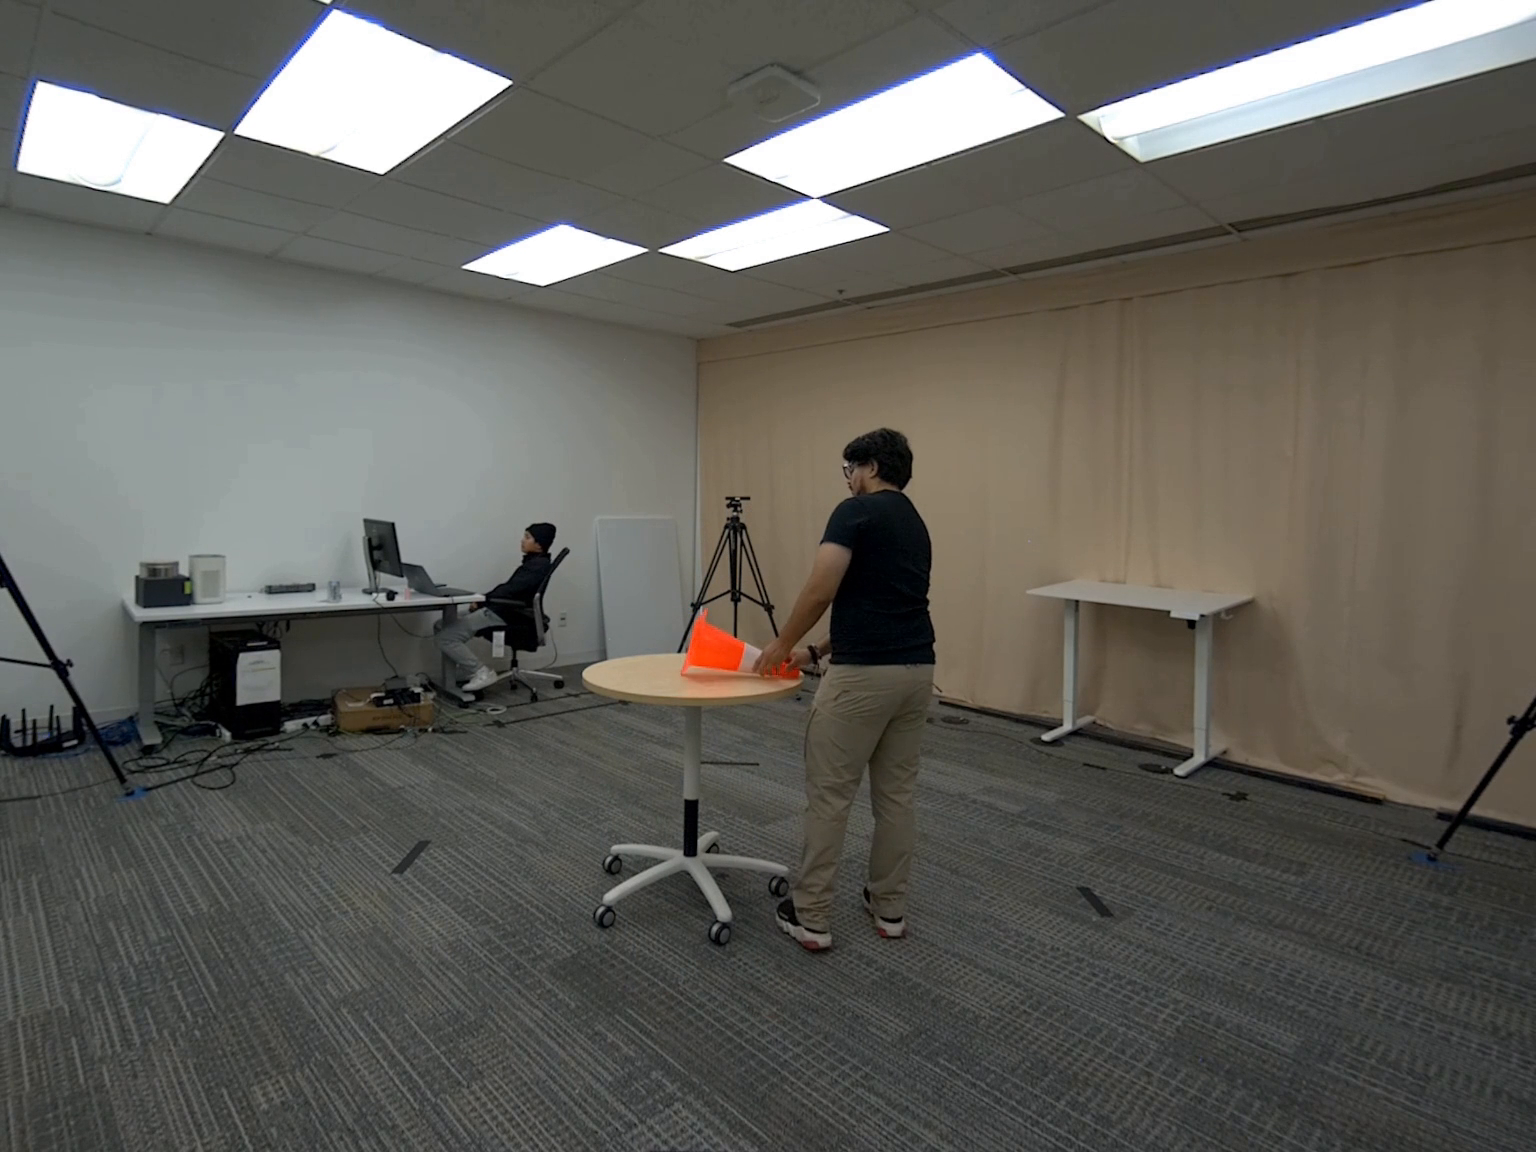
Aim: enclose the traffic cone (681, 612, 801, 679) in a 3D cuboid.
[{"bbox_3d":[-0.077,0.283,2.848,0.385,0.205,0.202,17,-1,4],"label":"traffic cone"}]
